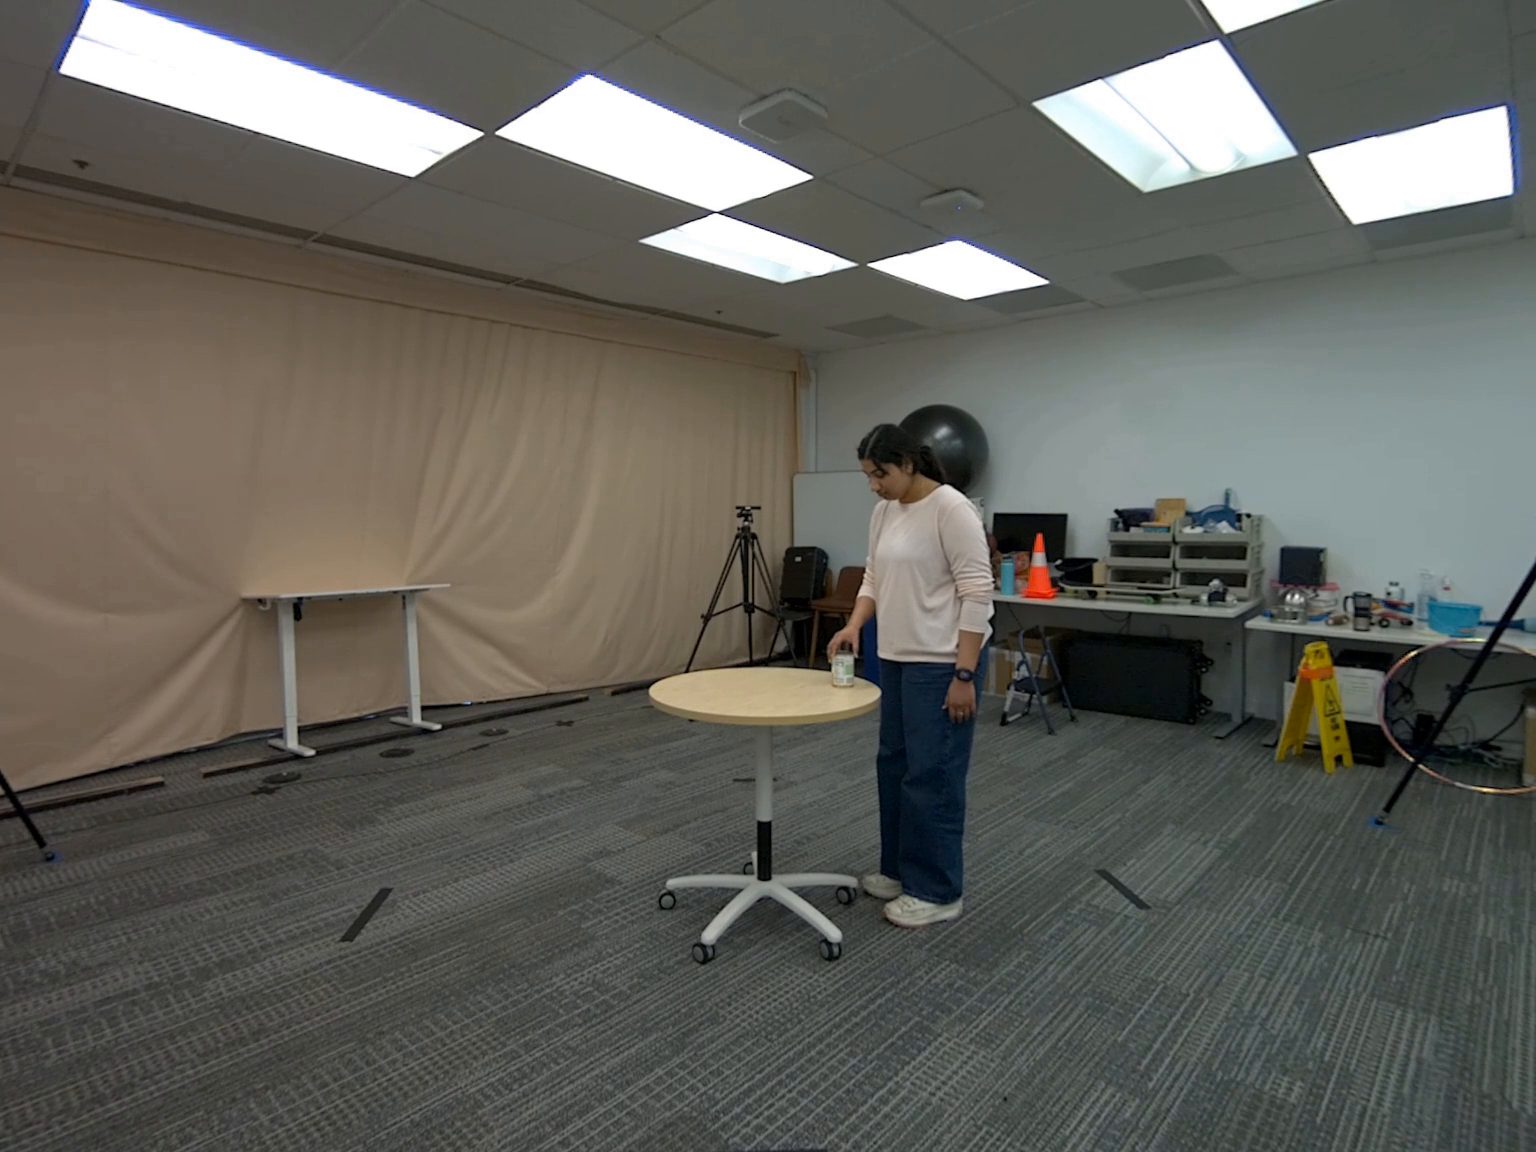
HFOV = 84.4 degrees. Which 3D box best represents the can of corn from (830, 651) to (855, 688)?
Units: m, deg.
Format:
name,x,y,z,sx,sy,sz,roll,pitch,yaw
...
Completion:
name,x,y,z,sx,sy,sz,roll,pitch,yaw
can of corn,0.256,0.318,2.837,0.074,0.111,0.074,-1,4,-2
